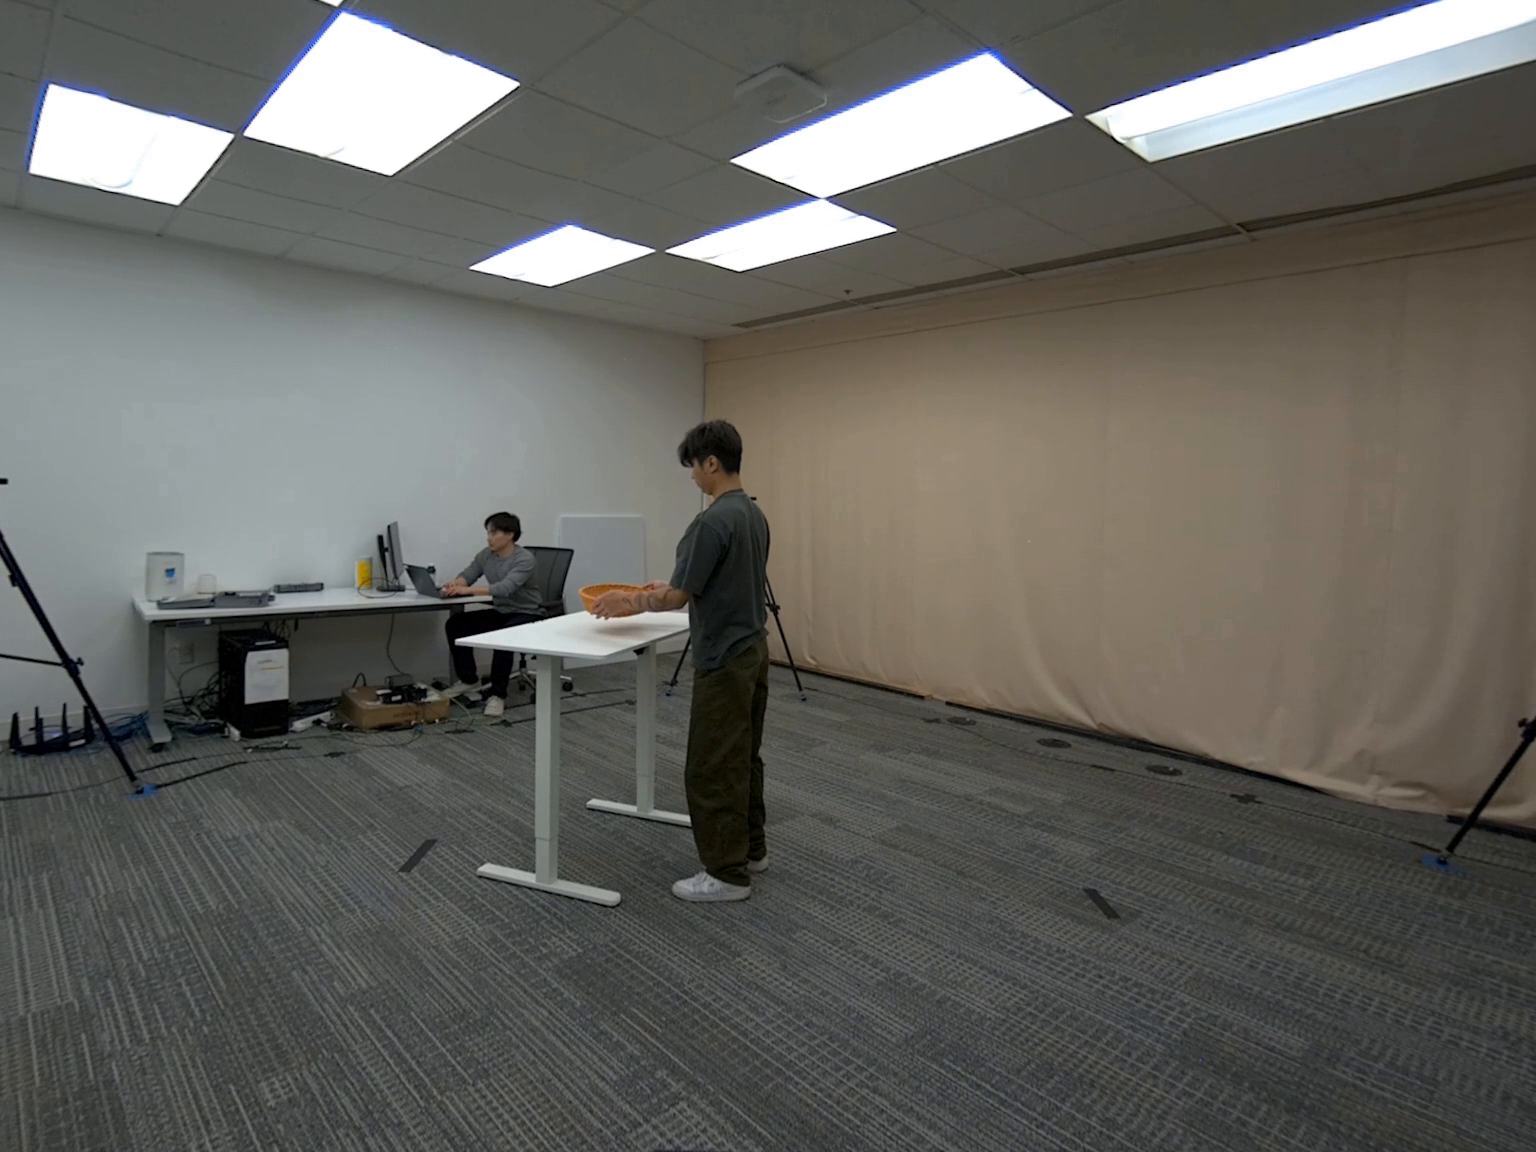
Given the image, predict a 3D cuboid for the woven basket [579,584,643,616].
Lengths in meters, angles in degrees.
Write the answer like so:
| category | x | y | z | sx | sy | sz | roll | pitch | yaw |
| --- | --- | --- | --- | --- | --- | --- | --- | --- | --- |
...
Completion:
| category | x | y | z | sx | sy | sz | roll | pitch | yaw |
| --- | --- | --- | --- | --- | --- | --- | --- | --- | --- |
| woven basket | -0.566 | 0.113 | 3.178 | 0.257 | 0.073 | 0.346 | 13 | 11 | 21 |
